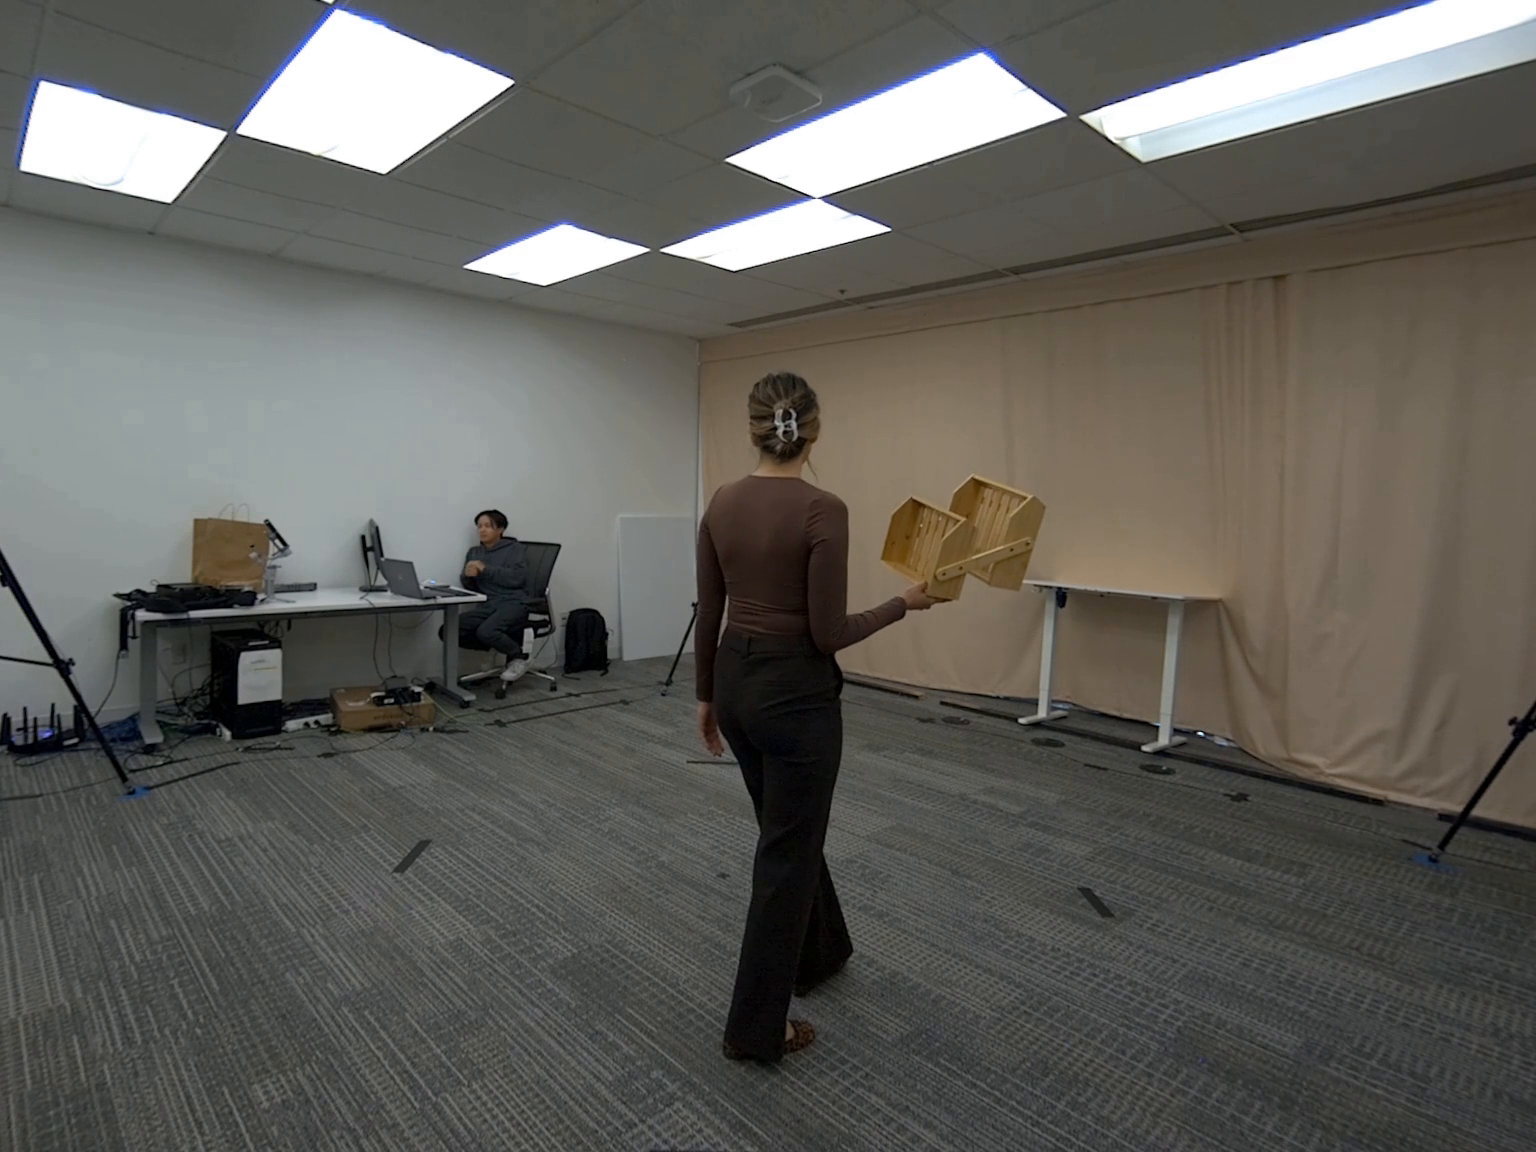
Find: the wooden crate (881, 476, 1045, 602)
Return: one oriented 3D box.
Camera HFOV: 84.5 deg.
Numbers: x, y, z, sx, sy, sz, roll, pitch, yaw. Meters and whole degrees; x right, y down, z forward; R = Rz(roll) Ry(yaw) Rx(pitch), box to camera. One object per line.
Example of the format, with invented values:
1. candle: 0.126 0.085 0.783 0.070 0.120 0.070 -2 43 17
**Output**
1. wooden crate: 0.506 -0.118 2.262 0.269 0.300 0.332 10 14 -18
